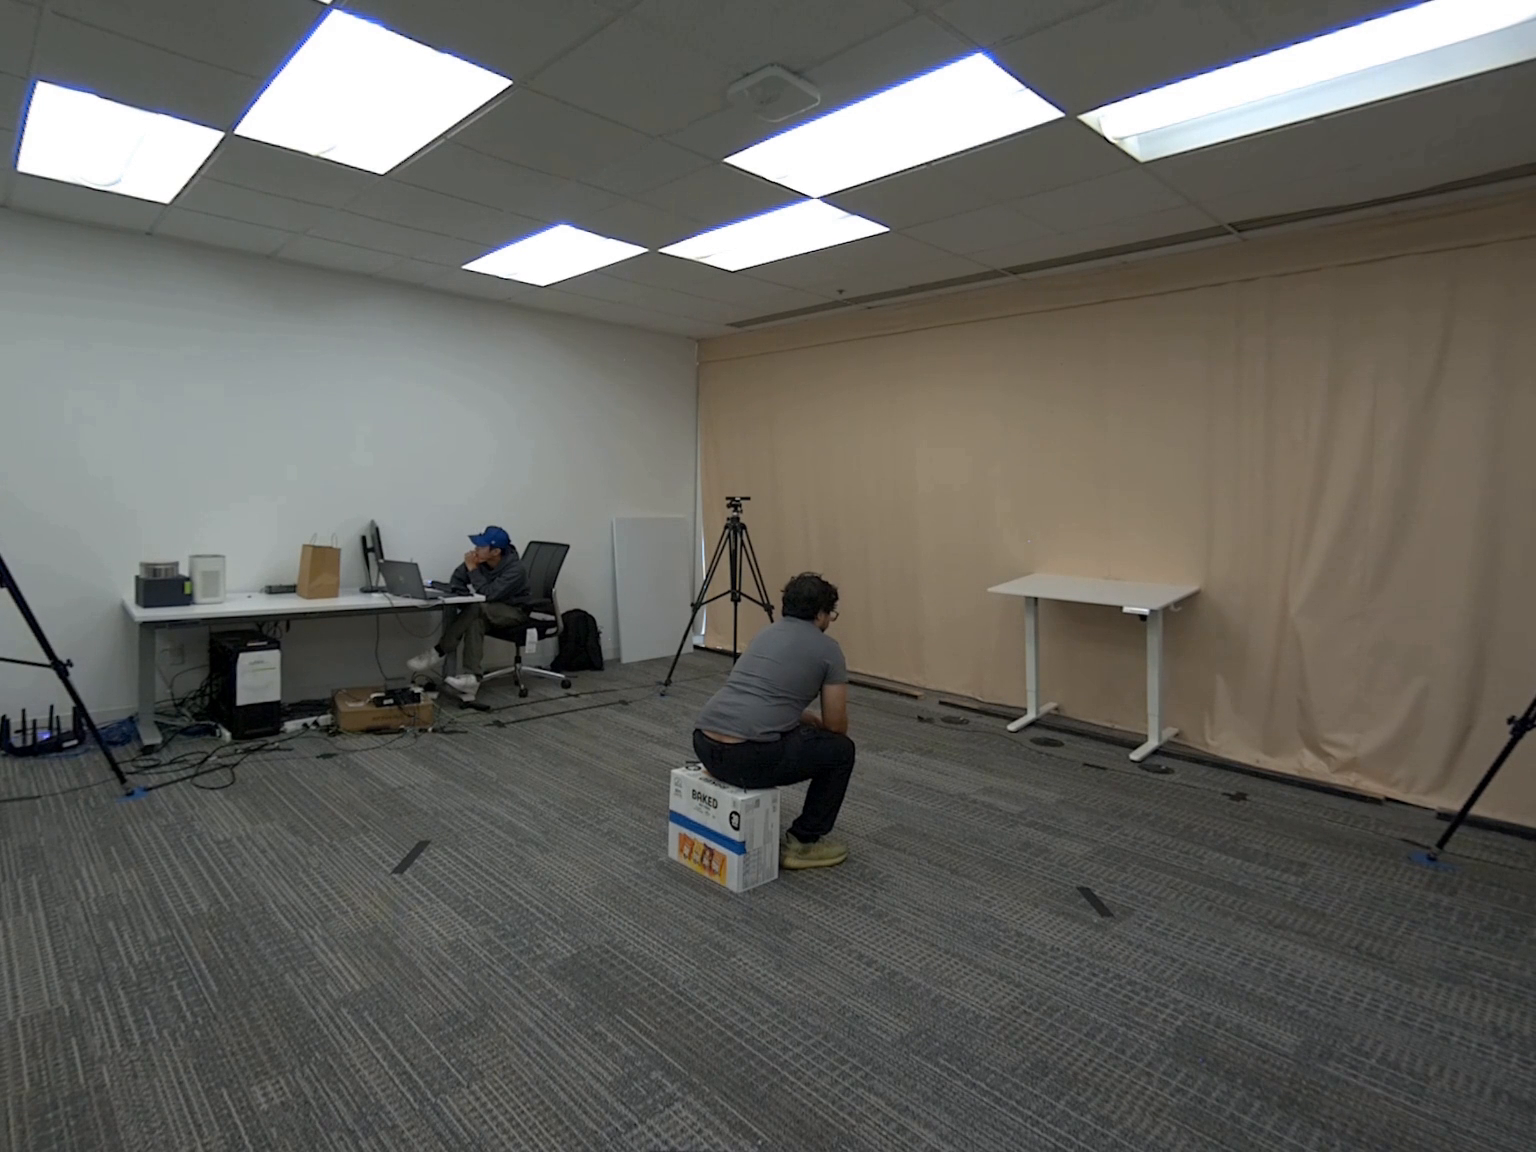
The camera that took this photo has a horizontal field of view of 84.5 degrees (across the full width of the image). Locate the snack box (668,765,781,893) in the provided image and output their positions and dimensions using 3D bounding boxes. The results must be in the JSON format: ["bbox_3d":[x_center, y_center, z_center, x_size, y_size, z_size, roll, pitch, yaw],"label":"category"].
[{"bbox_3d":[-0.178,0.934,3.165,0.201,0.339,0.416,-1,5,-44],"label":"snack box"}]
